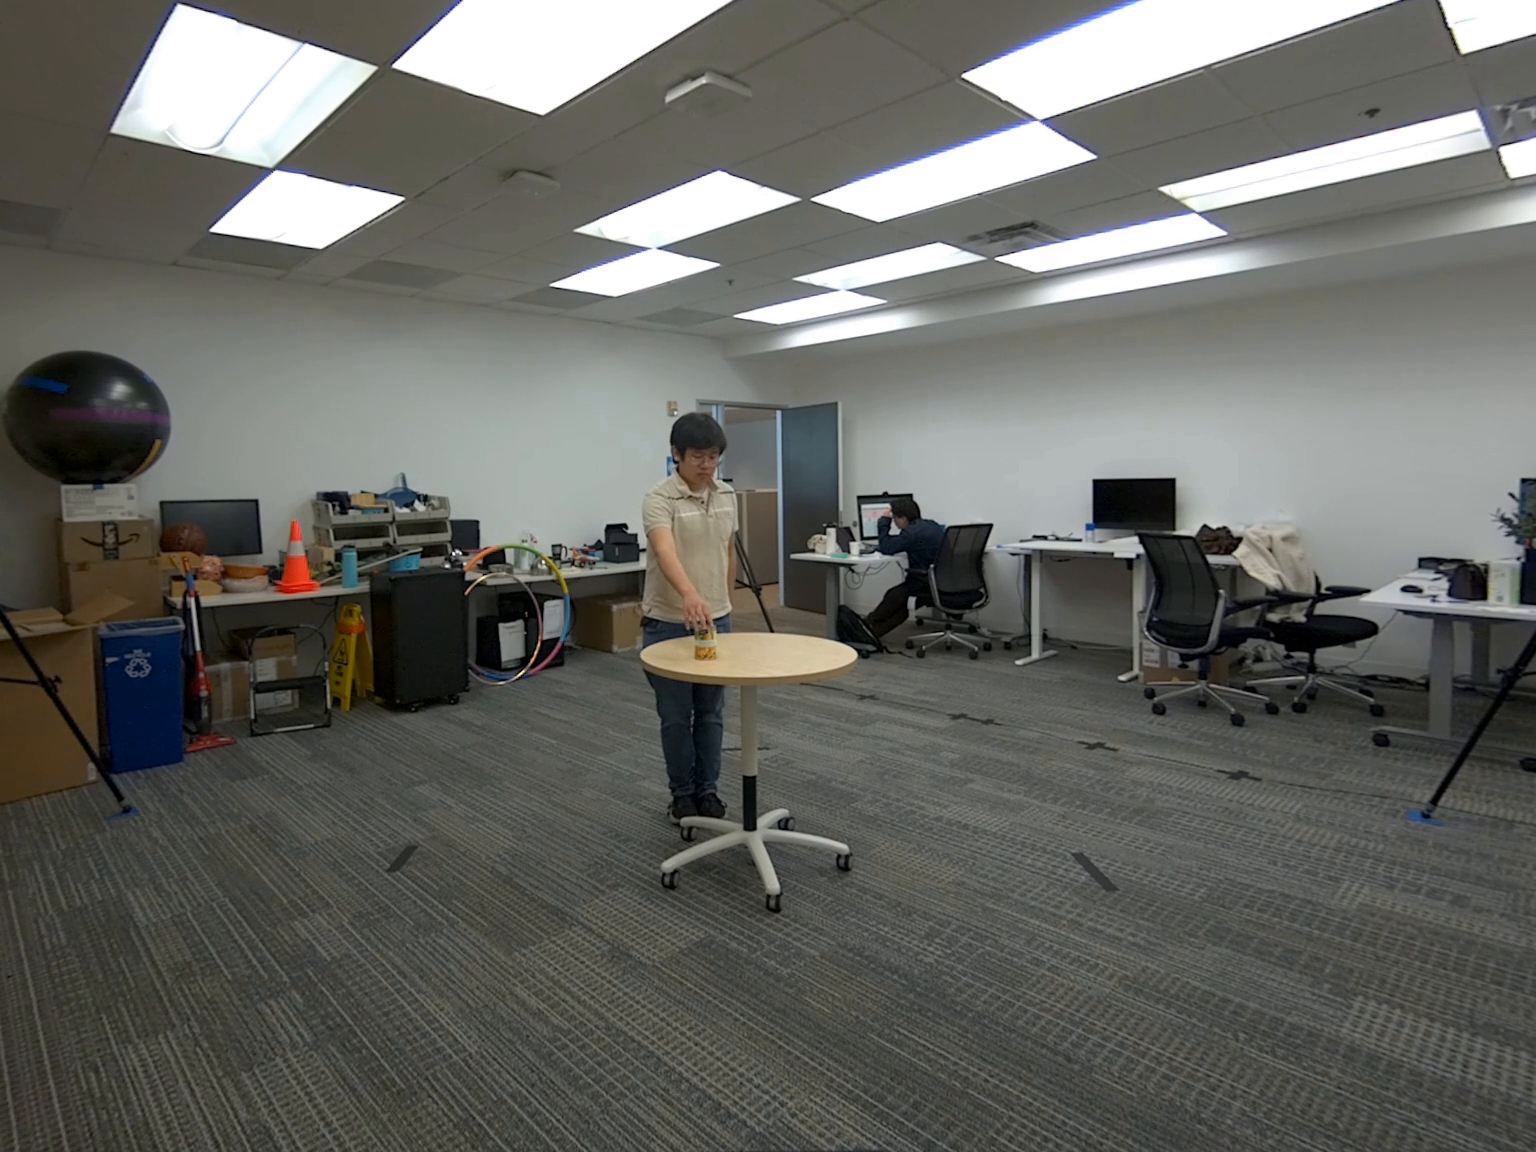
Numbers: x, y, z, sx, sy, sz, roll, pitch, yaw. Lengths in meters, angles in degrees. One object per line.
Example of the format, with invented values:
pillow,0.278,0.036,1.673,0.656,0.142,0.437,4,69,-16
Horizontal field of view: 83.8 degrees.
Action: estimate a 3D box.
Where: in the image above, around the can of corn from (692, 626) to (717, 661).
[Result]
can of corn,-0.222,0.232,2.932,0.074,0.111,0.074,-2,4,-2
